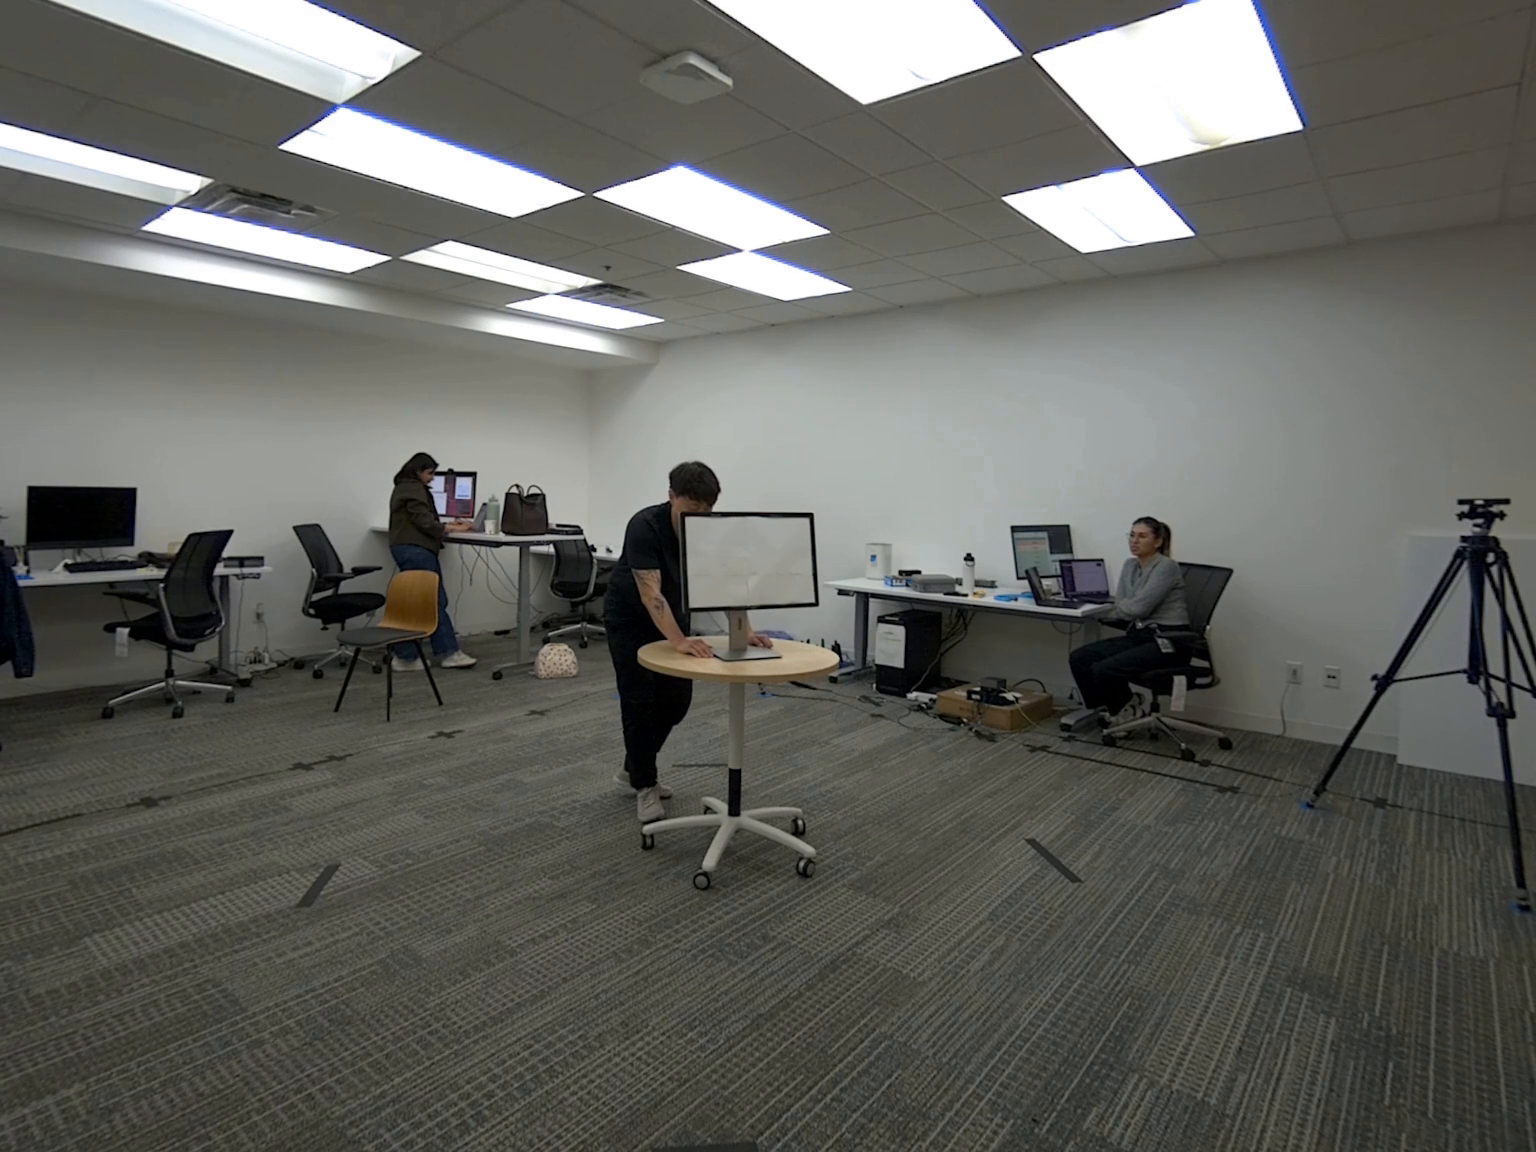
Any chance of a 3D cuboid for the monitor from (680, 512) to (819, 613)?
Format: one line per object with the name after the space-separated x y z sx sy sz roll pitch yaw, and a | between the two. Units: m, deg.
-0.097 0.033 3.202 0.525 0.520 0.193 -1 7 -28 | monitor
